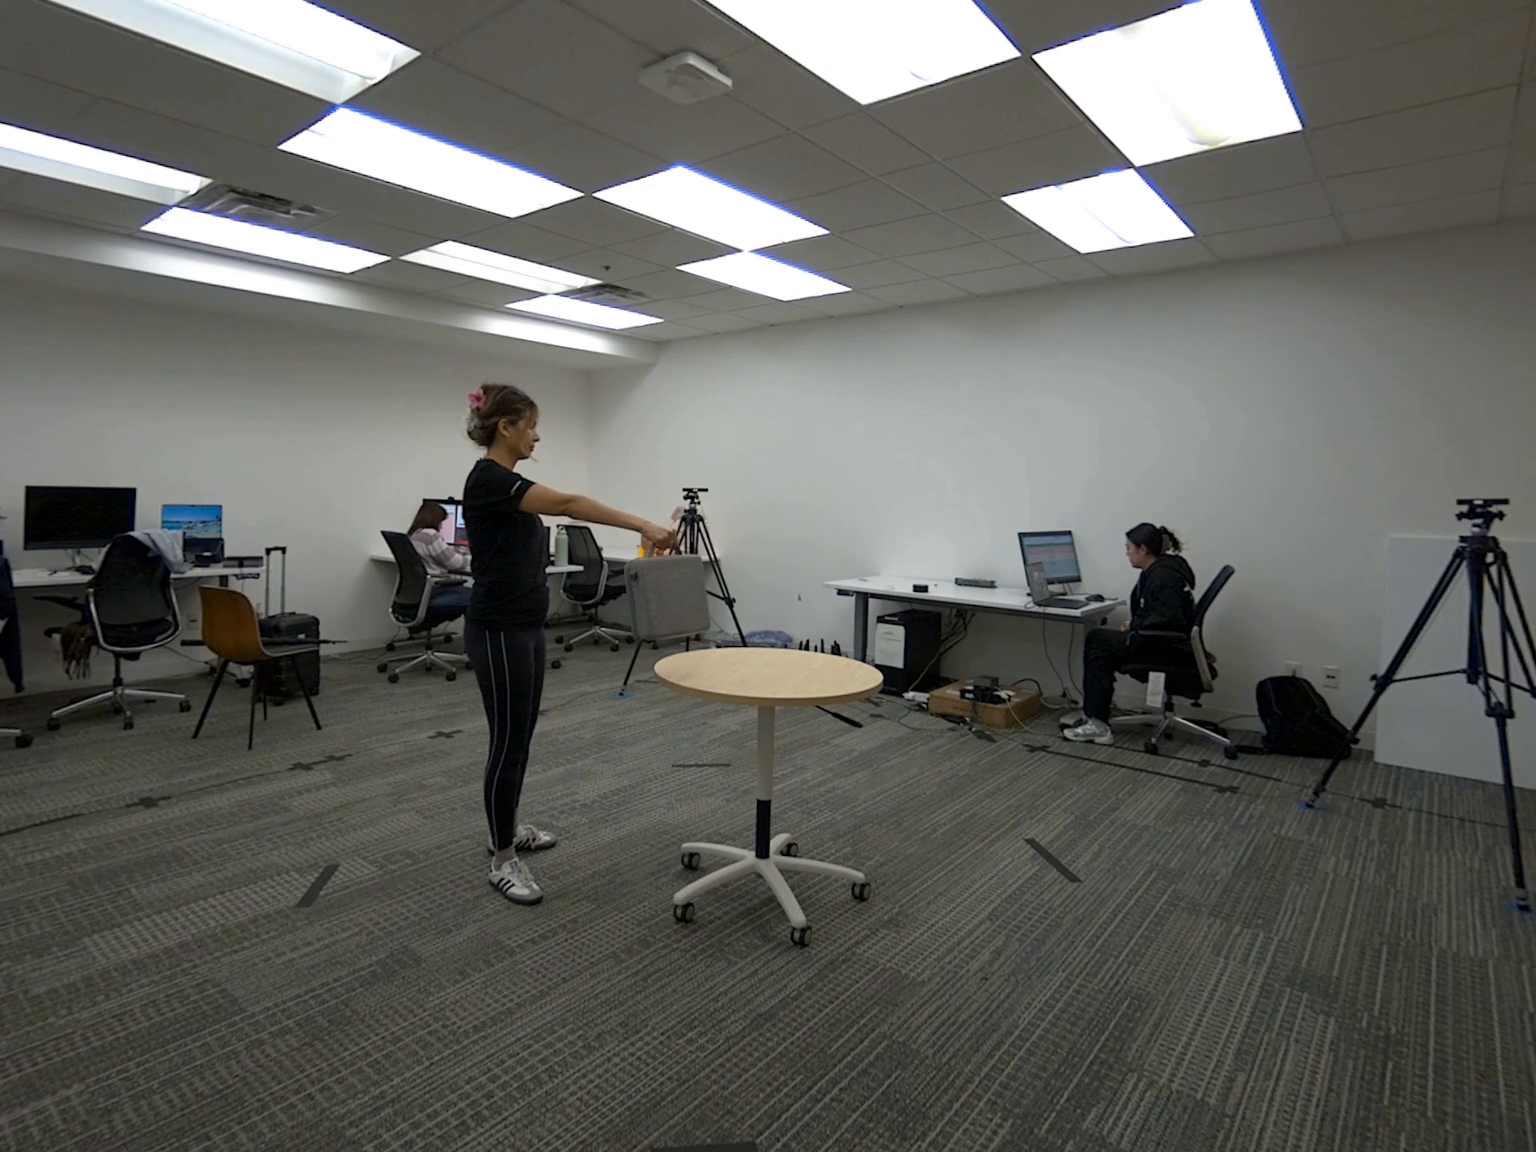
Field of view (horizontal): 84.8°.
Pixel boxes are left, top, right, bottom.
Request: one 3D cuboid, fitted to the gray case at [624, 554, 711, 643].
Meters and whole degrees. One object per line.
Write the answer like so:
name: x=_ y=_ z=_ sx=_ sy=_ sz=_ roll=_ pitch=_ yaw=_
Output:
gray case: x=-0.318 y=0.060 z=2.634 sx=0.250 sy=0.262 sz=0.107 roll=-6 pitch=-4 yaw=-40
